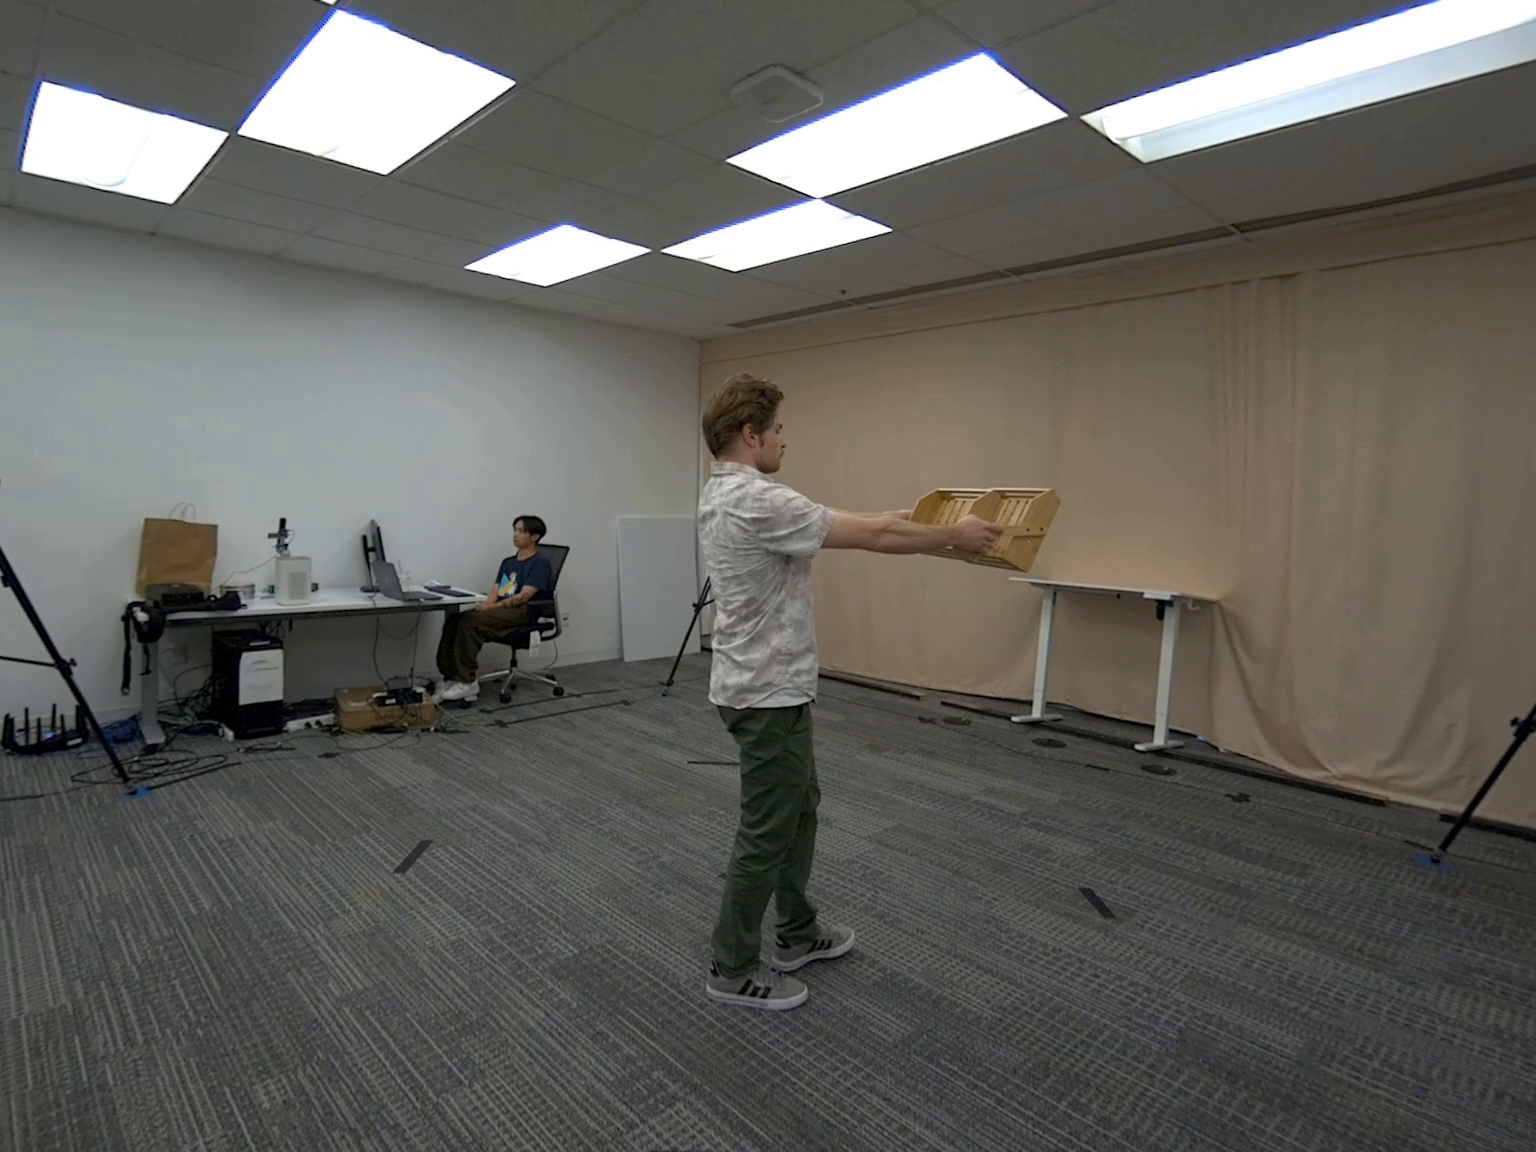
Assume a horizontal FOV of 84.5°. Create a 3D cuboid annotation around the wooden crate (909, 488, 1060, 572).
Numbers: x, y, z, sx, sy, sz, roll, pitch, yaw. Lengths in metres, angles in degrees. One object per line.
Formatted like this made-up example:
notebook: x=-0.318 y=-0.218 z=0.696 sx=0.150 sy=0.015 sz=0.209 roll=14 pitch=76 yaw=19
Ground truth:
wooden crate: x=0.622 y=-0.169 z=2.519 sx=0.268 sy=0.302 sz=0.330 roll=28 pitch=-3 yaw=-18
